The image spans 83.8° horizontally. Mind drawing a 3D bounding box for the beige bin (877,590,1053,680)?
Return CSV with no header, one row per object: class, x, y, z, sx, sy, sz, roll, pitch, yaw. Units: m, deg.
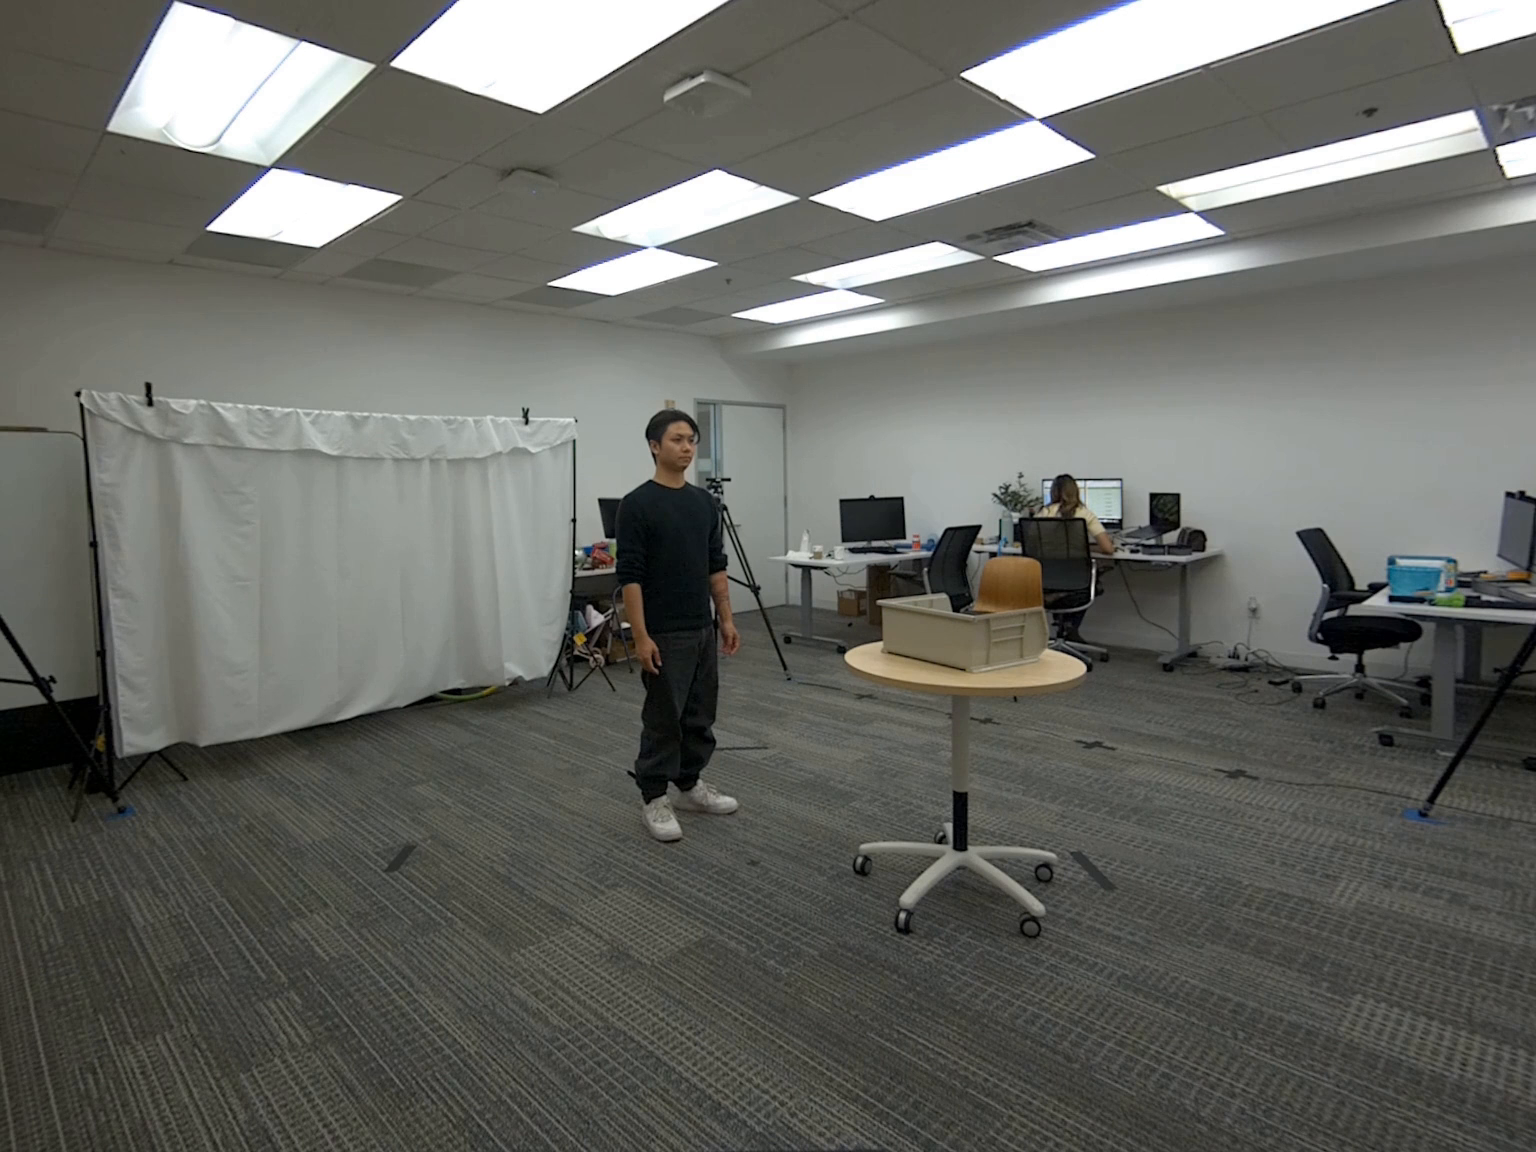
beige bin,0.654,0.182,2.879,0.368,0.188,0.435,-6,8,-35
